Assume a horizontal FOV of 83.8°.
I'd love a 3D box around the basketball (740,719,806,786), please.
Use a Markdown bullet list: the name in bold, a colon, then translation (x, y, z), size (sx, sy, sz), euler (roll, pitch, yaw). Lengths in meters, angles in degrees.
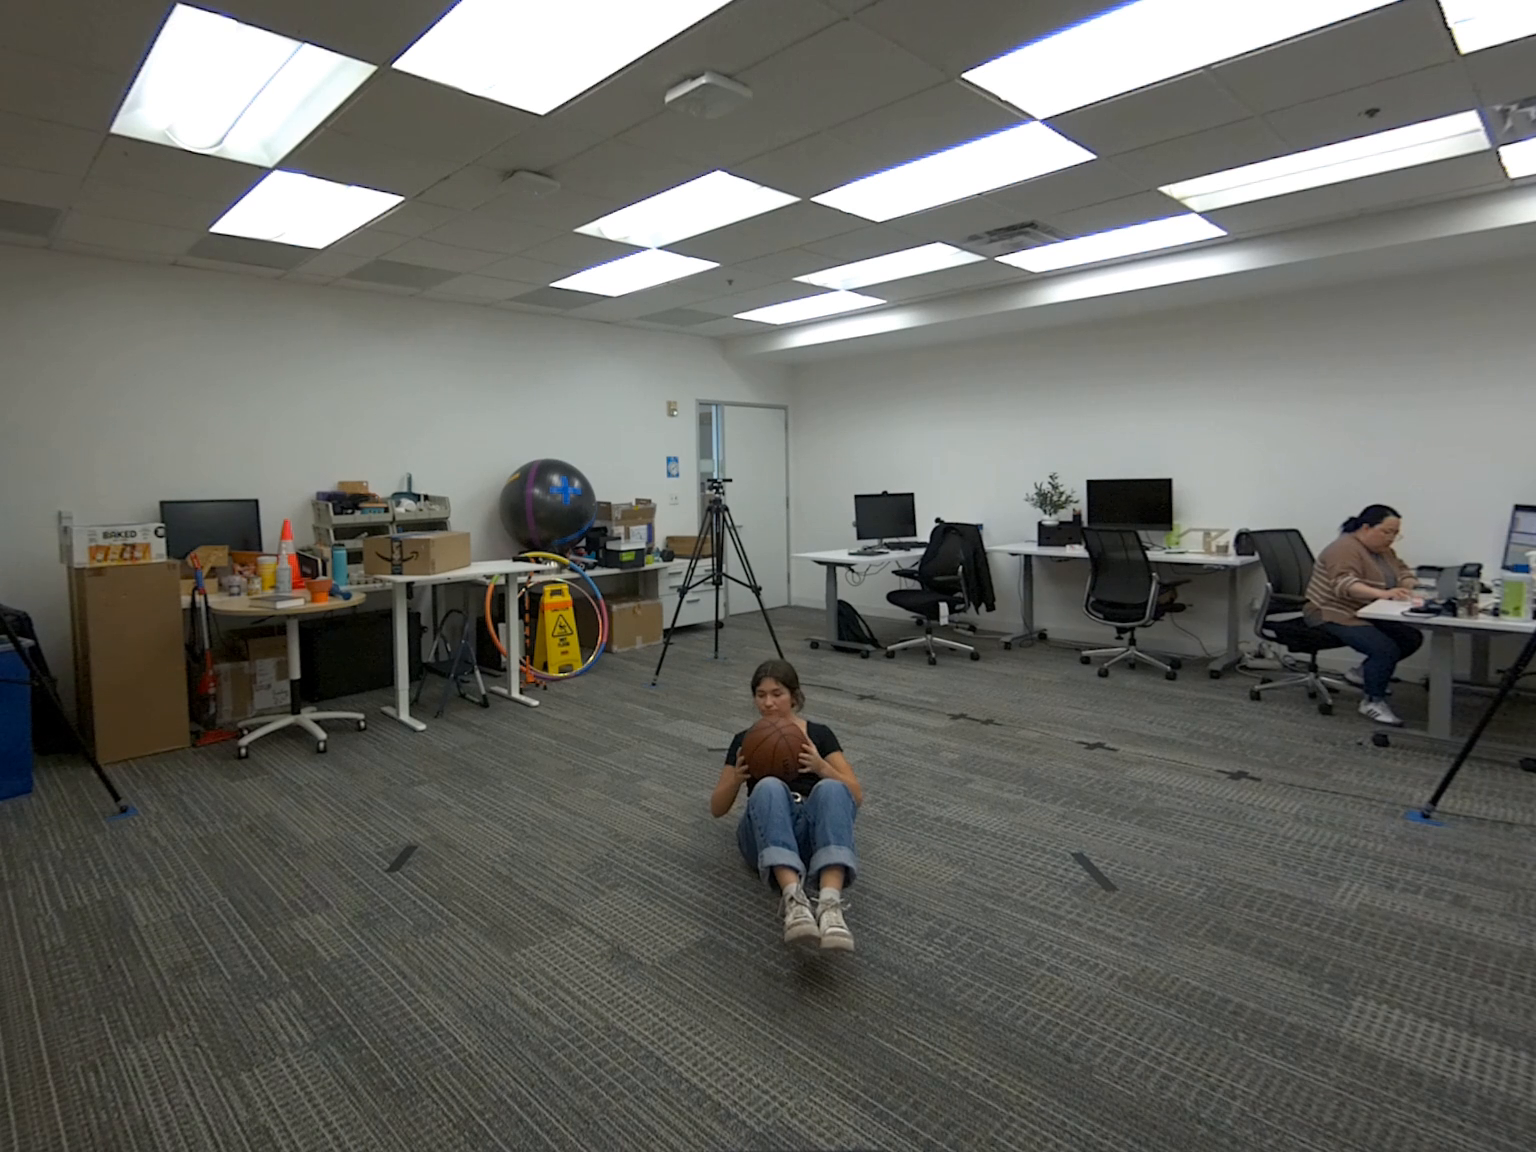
- **basketball**: translation (0.023, 0.633, 3.075), size (0.236, 0.235, 0.237), euler (-1, 5, -2)
